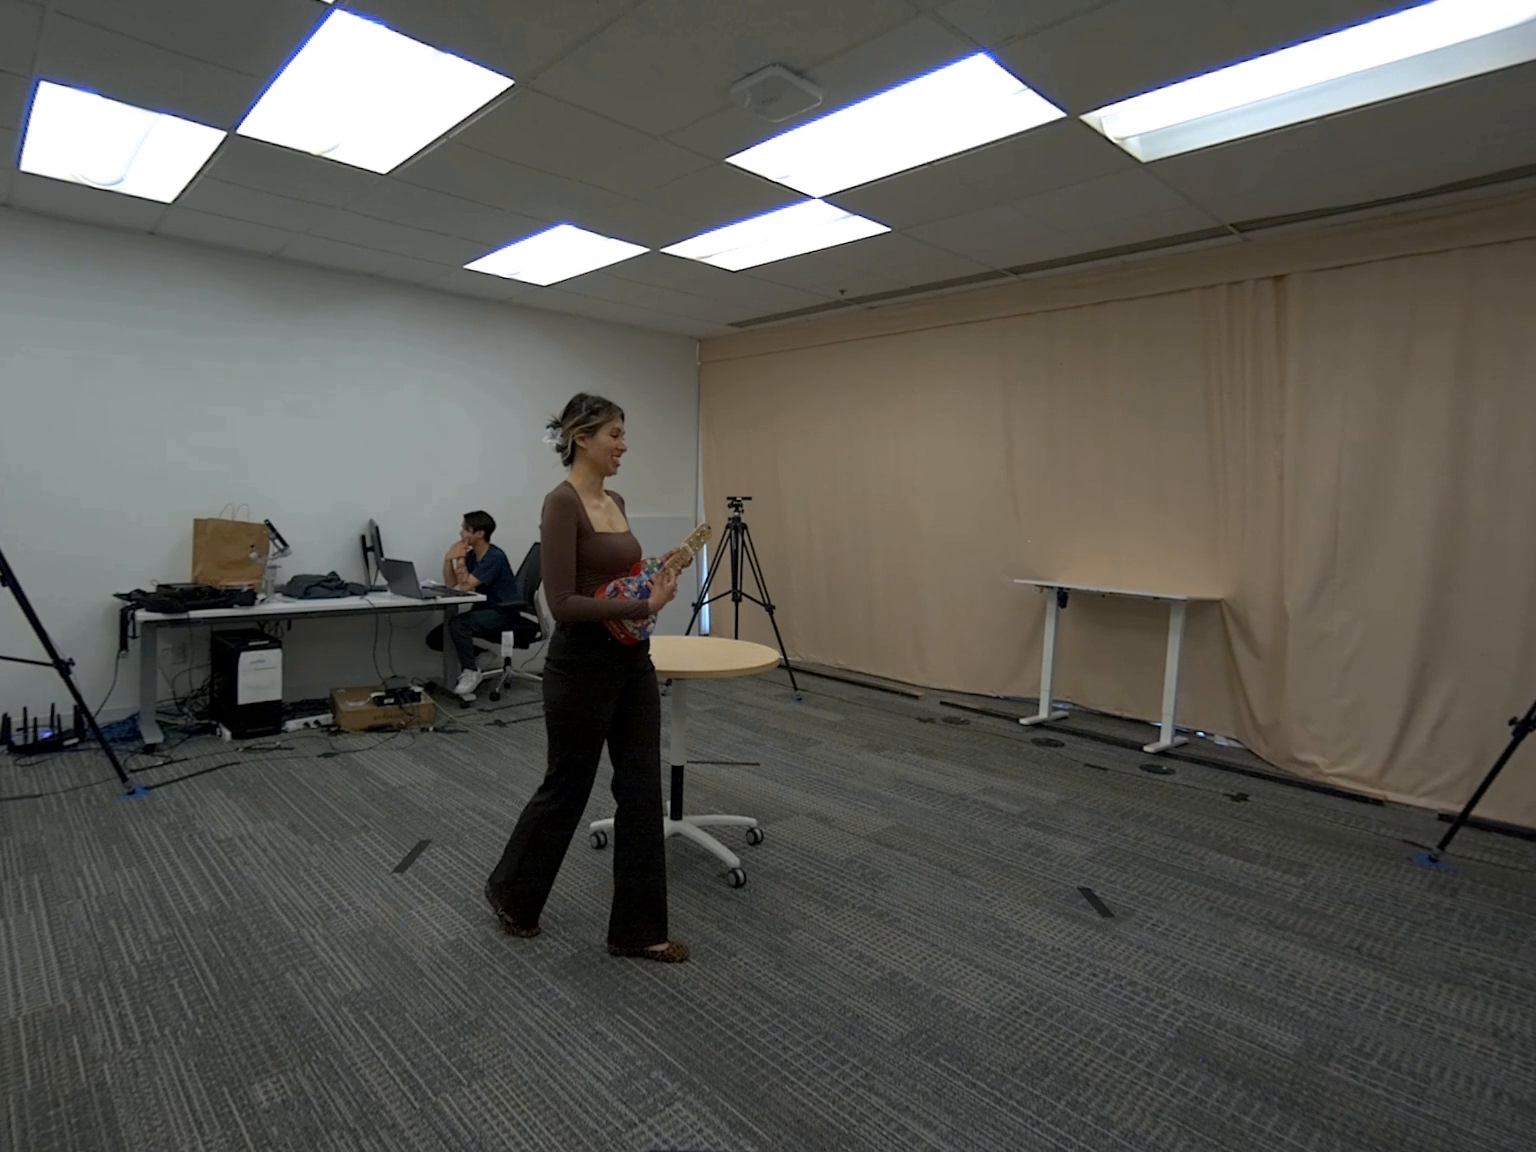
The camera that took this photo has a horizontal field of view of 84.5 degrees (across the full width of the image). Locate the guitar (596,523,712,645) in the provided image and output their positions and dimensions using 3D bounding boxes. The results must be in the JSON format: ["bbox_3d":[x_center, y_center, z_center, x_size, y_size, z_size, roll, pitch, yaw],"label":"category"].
[{"bbox_3d":[-0.324,0.018,2.547,0.072,0.191,0.496,-21,14,44],"label":"guitar"}]
